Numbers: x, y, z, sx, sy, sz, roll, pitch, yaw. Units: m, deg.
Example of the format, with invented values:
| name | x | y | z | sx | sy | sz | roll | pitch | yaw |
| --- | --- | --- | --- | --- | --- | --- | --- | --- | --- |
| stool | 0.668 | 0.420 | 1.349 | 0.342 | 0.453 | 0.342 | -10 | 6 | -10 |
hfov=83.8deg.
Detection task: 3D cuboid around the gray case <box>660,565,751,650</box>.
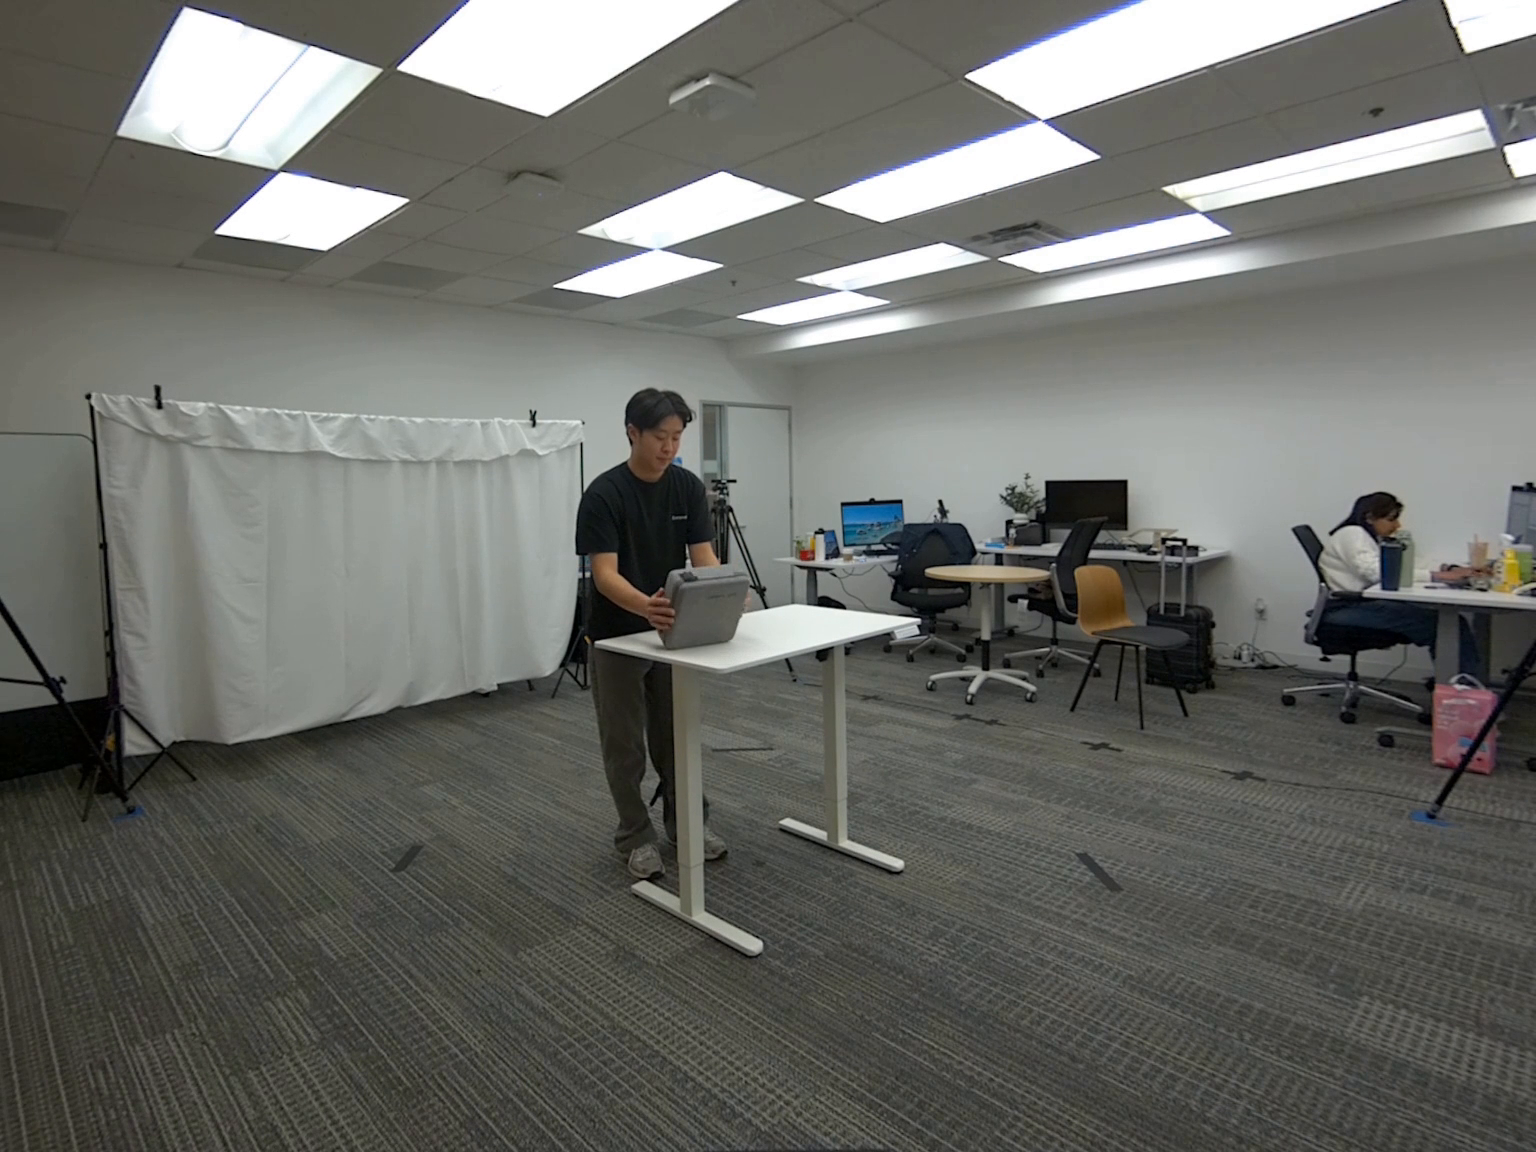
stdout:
| name | x | y | z | sx | sy | sz | roll | pitch | yaw |
| --- | --- | --- | --- | --- | --- | --- | --- | --- | --- |
| gray case | -0.202 | 0.100 | 2.648 | 0.251 | 0.256 | 0.108 | -5 | 35 | -31 |
